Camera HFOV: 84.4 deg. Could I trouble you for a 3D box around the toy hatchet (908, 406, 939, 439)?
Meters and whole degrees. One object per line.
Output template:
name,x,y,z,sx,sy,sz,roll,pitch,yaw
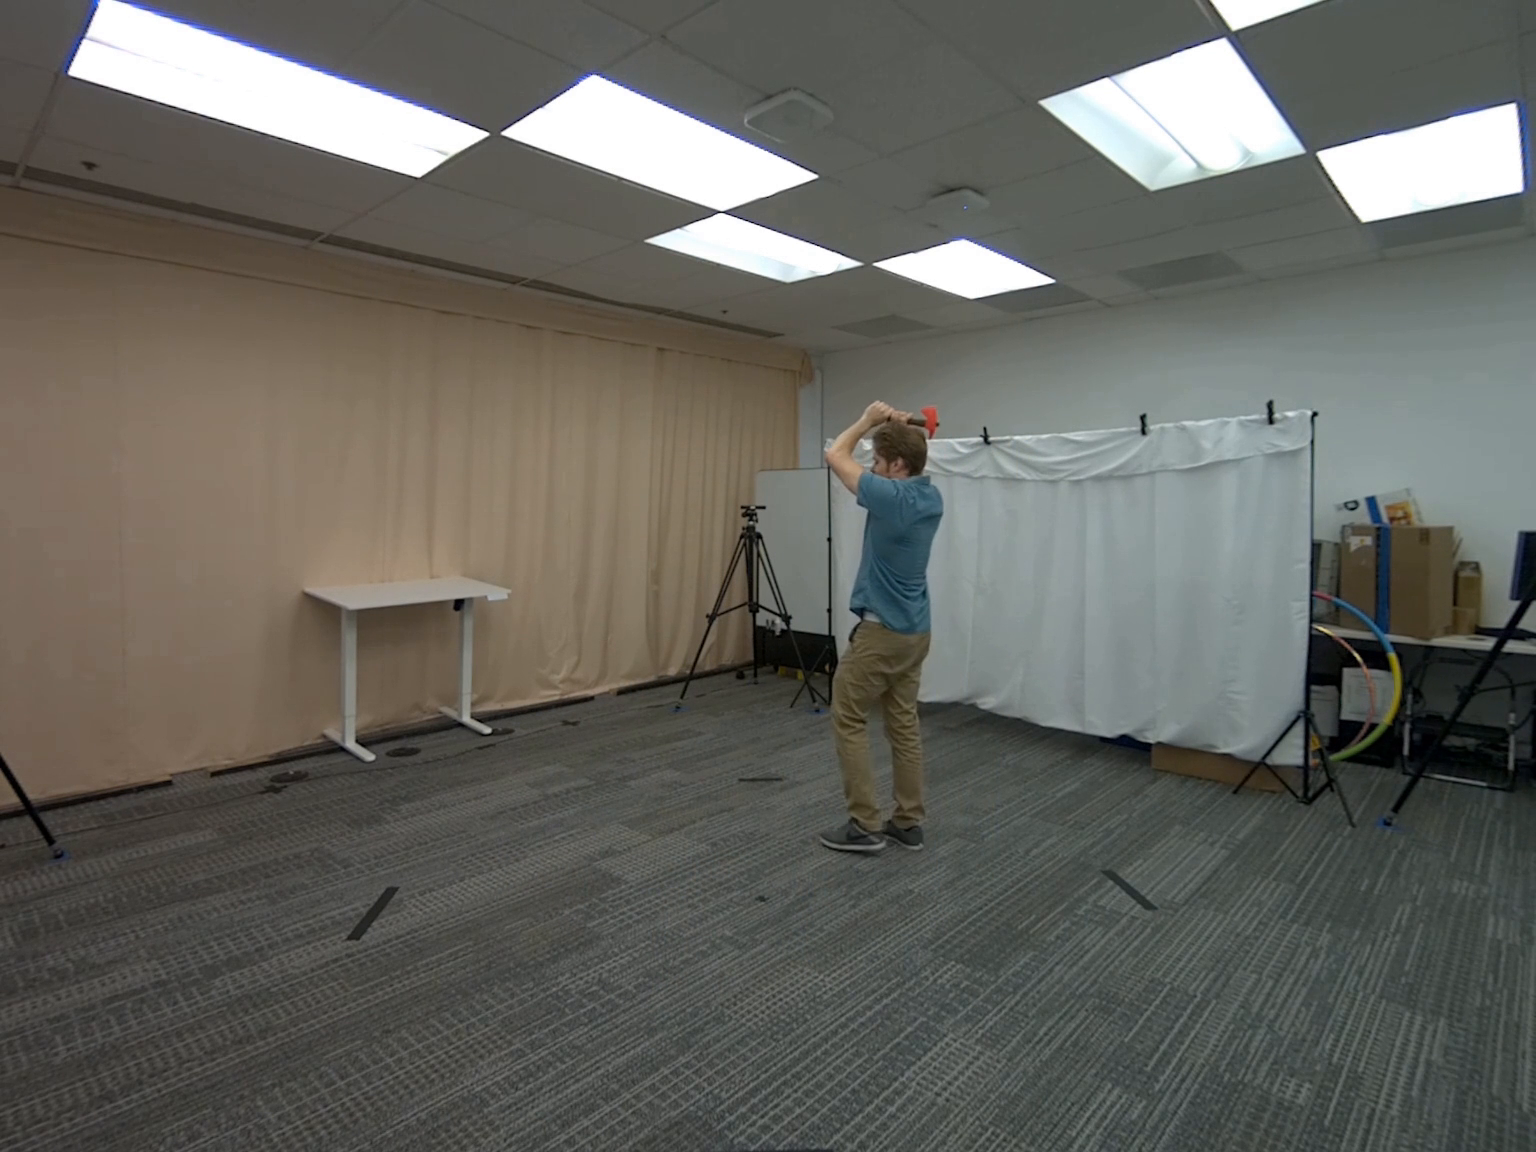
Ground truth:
toy hatchet,0.573,-0.665,3.428,0.273,0.131,0.029,29,23,10
